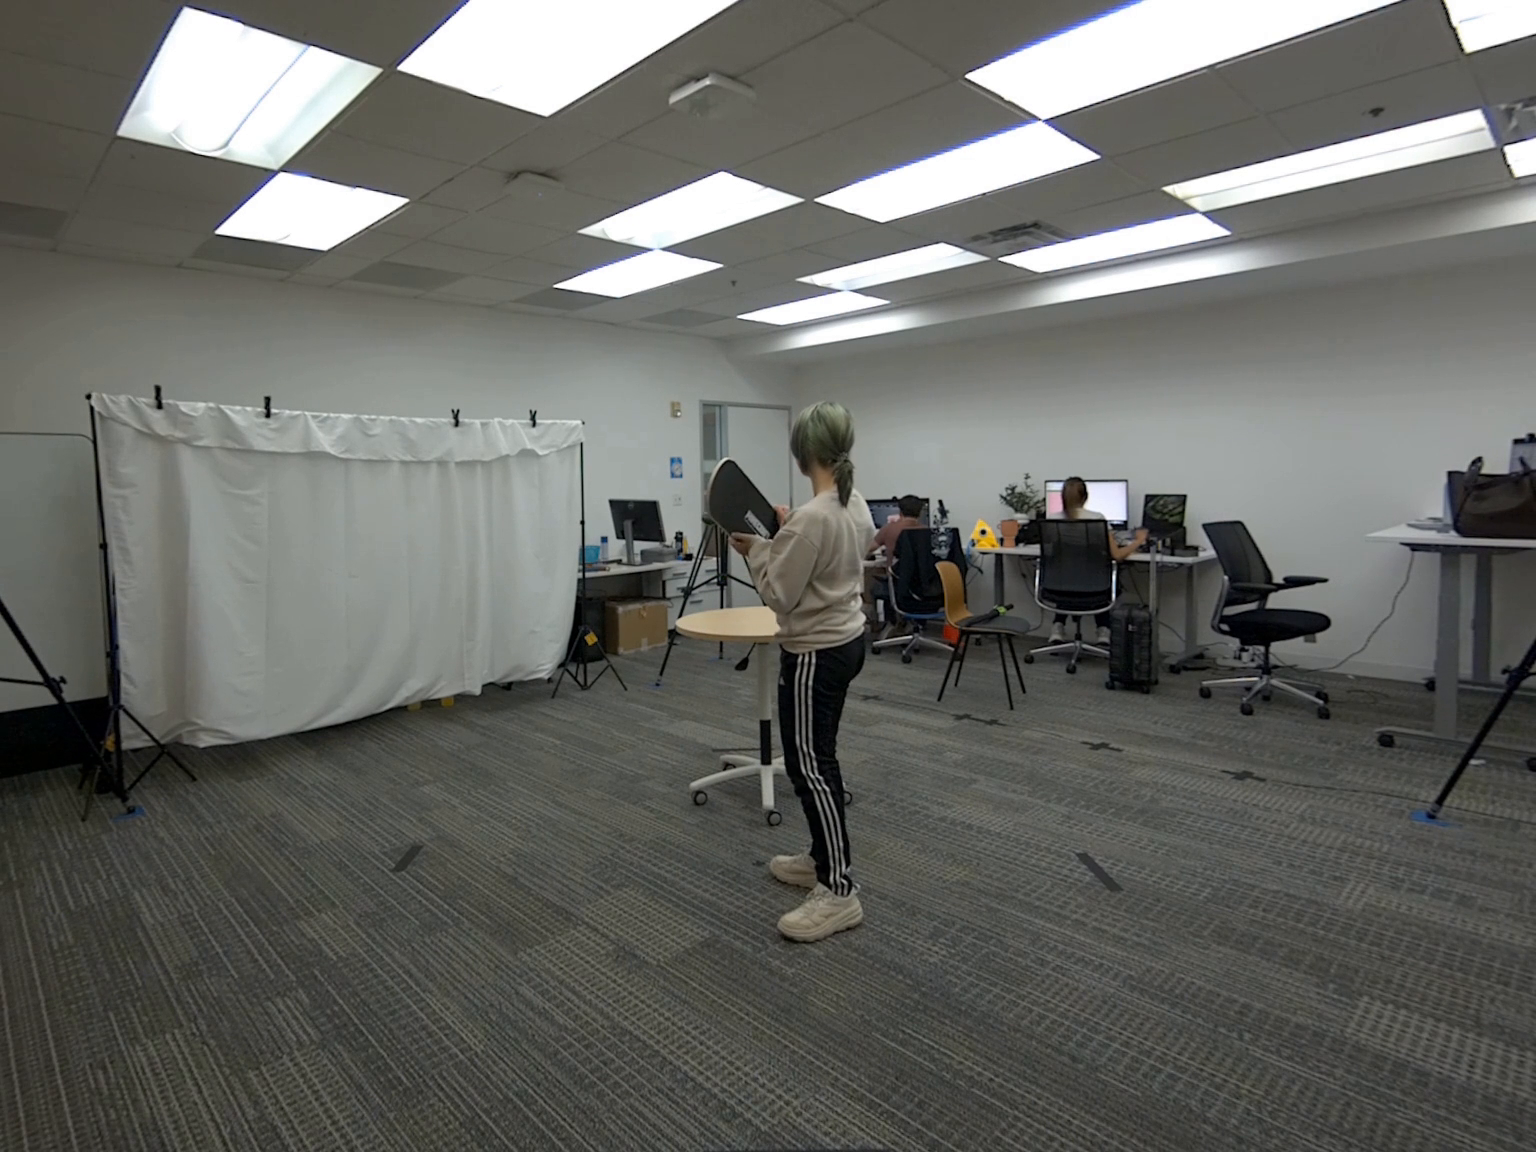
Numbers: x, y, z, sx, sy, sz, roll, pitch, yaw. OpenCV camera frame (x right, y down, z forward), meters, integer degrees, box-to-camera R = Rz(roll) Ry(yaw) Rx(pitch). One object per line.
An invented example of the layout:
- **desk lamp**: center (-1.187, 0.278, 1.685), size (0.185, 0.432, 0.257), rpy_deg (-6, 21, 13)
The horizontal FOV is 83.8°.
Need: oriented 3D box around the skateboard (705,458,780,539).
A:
- **skateboard**: center (-0.055, -0.176, 2.862), size (0.113, 0.195, 0.758), rpy_deg (10, -16, 26)
